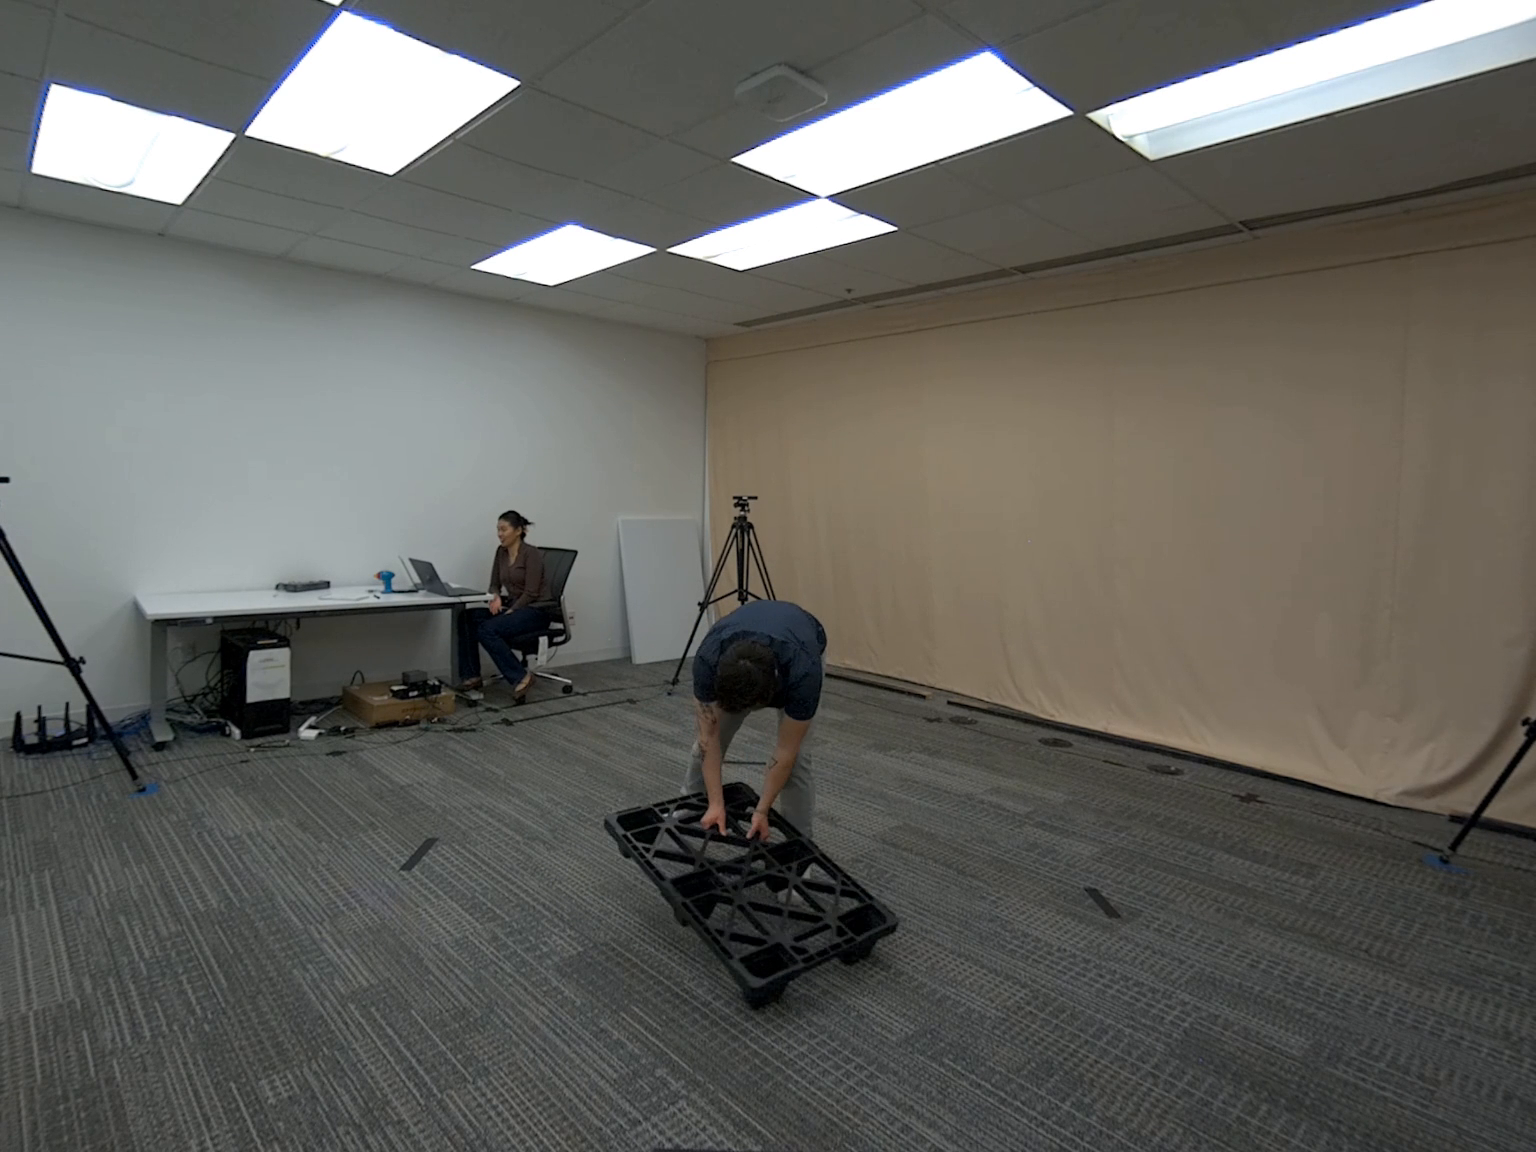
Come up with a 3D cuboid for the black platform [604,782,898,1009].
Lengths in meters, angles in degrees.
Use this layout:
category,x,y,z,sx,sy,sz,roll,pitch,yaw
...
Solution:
category,x,y,z,sx,sy,sz,roll,pitch,yaw
black platform,-0.083,0.983,2.682,0.591,0.142,0.831,-3,22,-41
